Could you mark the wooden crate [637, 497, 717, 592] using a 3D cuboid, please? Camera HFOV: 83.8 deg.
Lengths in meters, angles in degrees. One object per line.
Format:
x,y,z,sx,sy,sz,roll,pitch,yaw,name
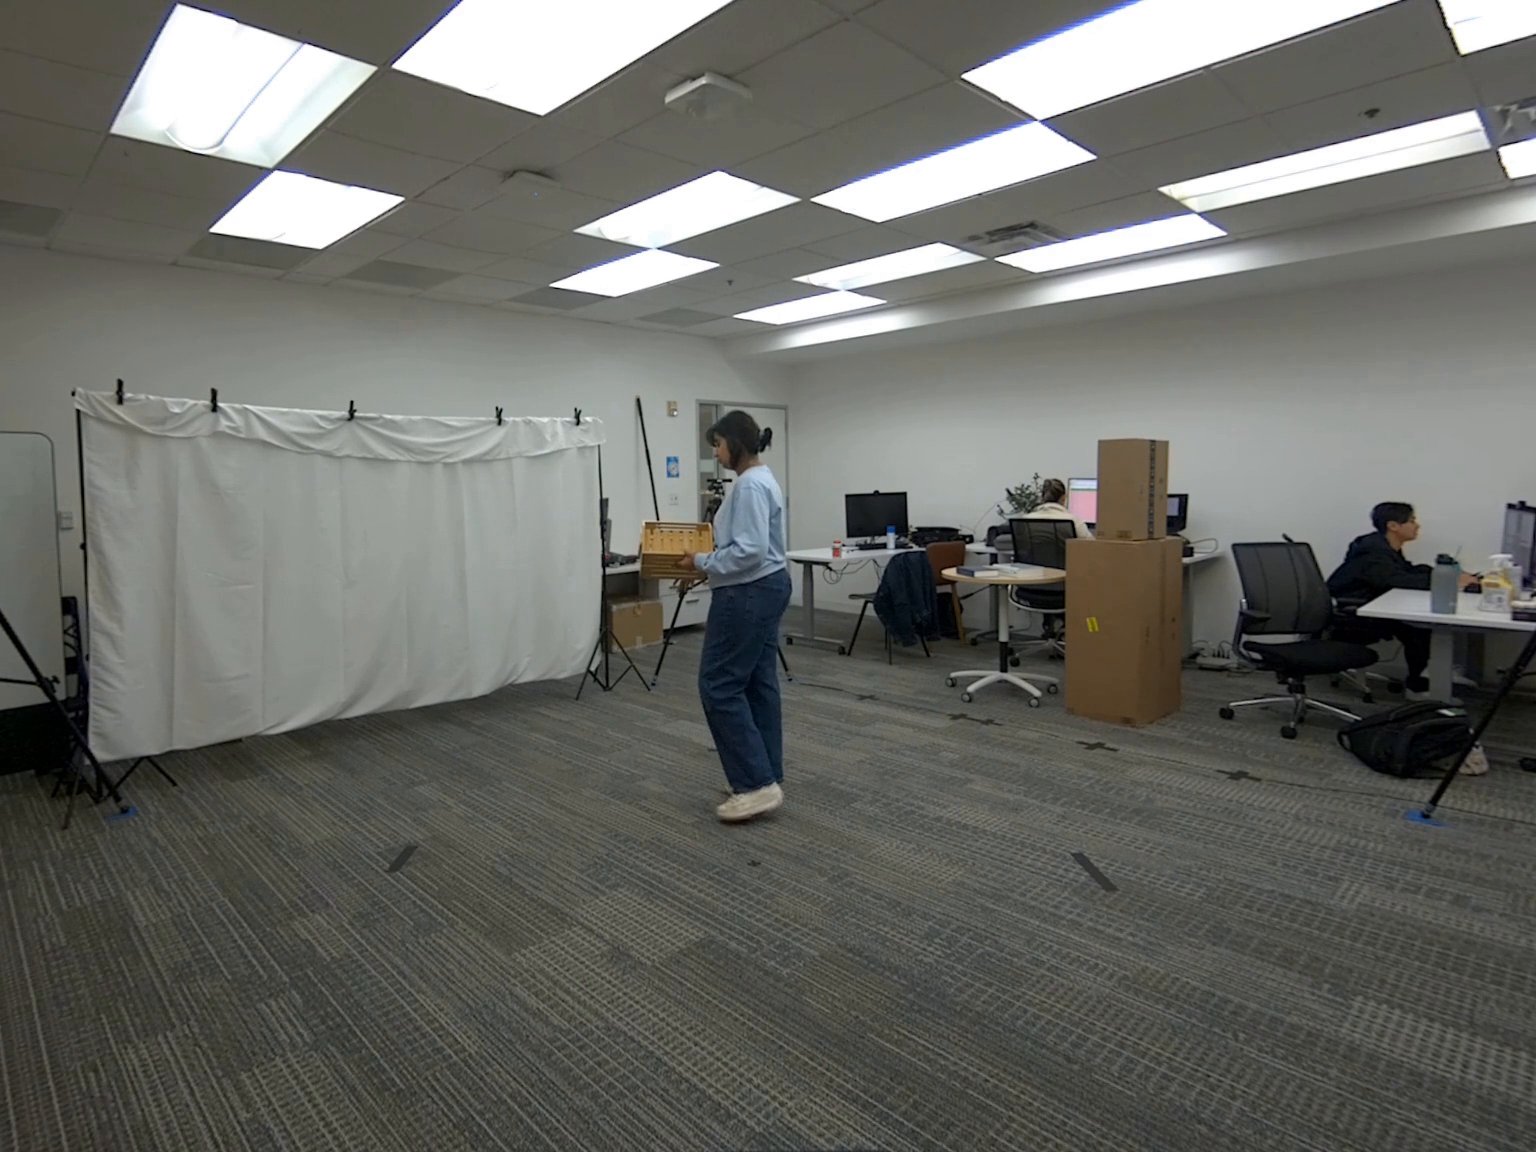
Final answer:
-0.405,-0.140,3.803,0.321,0.311,0.268,2,-38,-11,wooden crate
